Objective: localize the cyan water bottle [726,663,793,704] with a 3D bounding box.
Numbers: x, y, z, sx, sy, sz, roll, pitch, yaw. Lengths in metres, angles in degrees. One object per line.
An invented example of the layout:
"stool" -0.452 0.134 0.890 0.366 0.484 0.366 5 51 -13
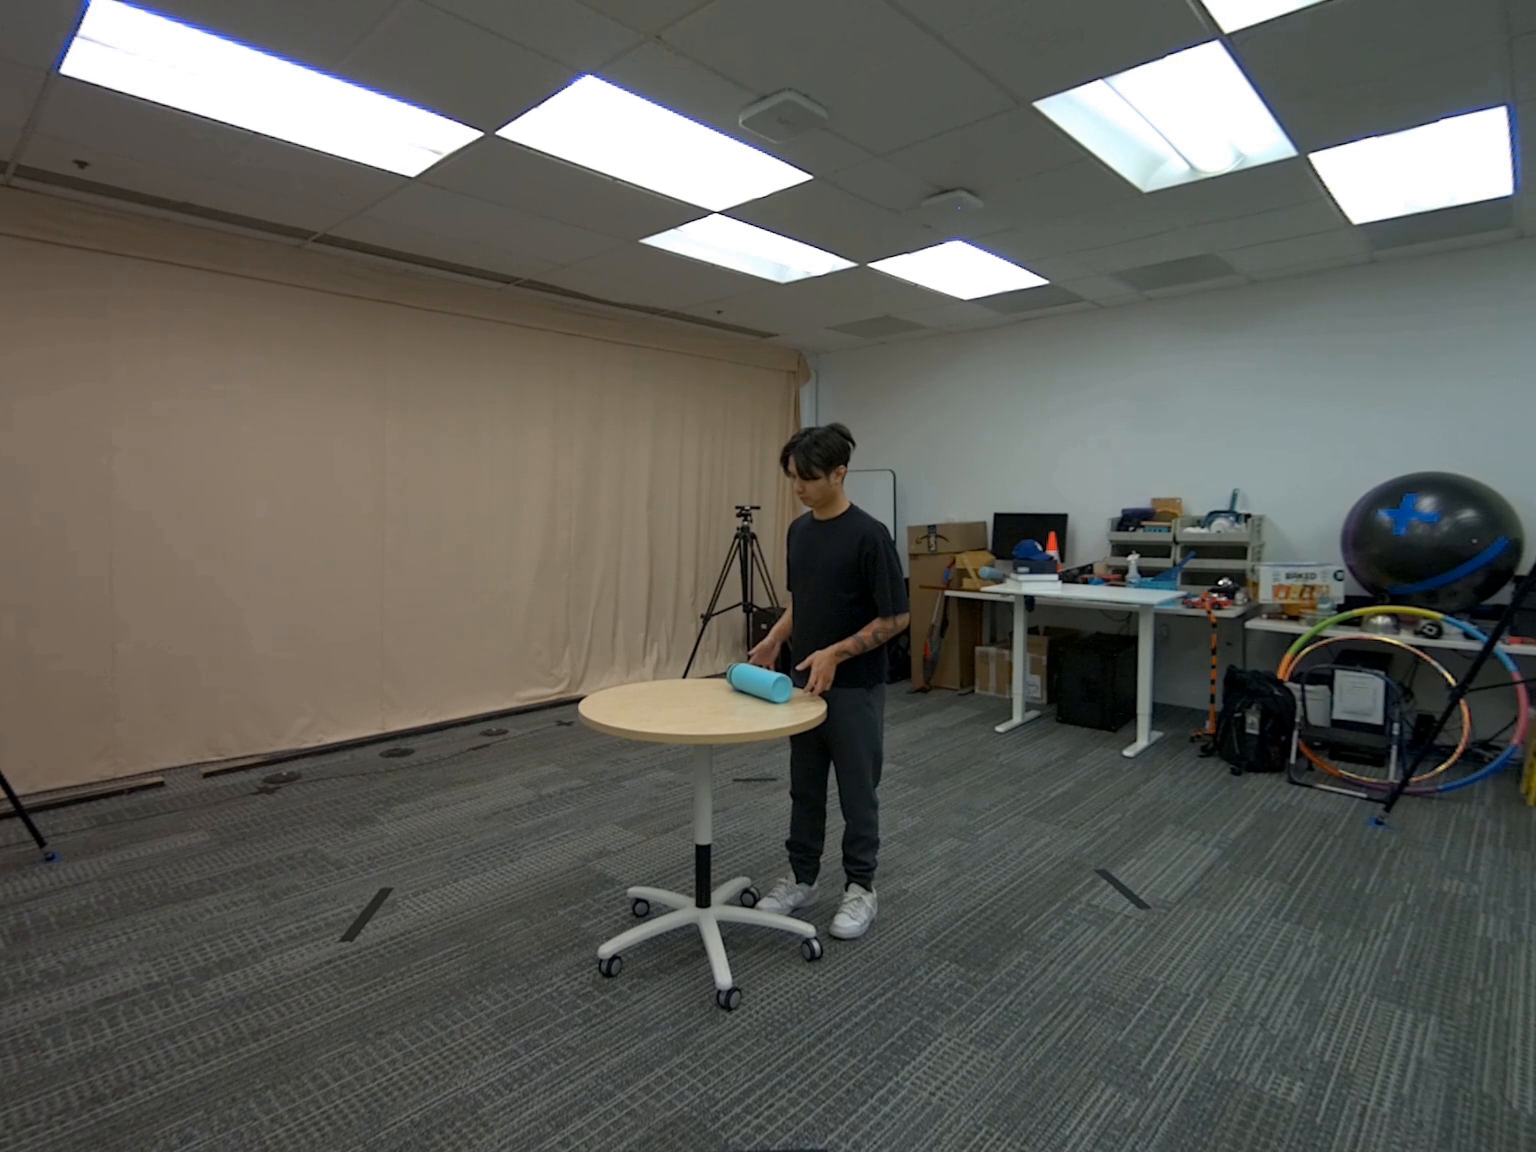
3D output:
"cyan water bottle" -0.037 0.342 2.717 0.090 0.092 0.292 -2 6 -33
